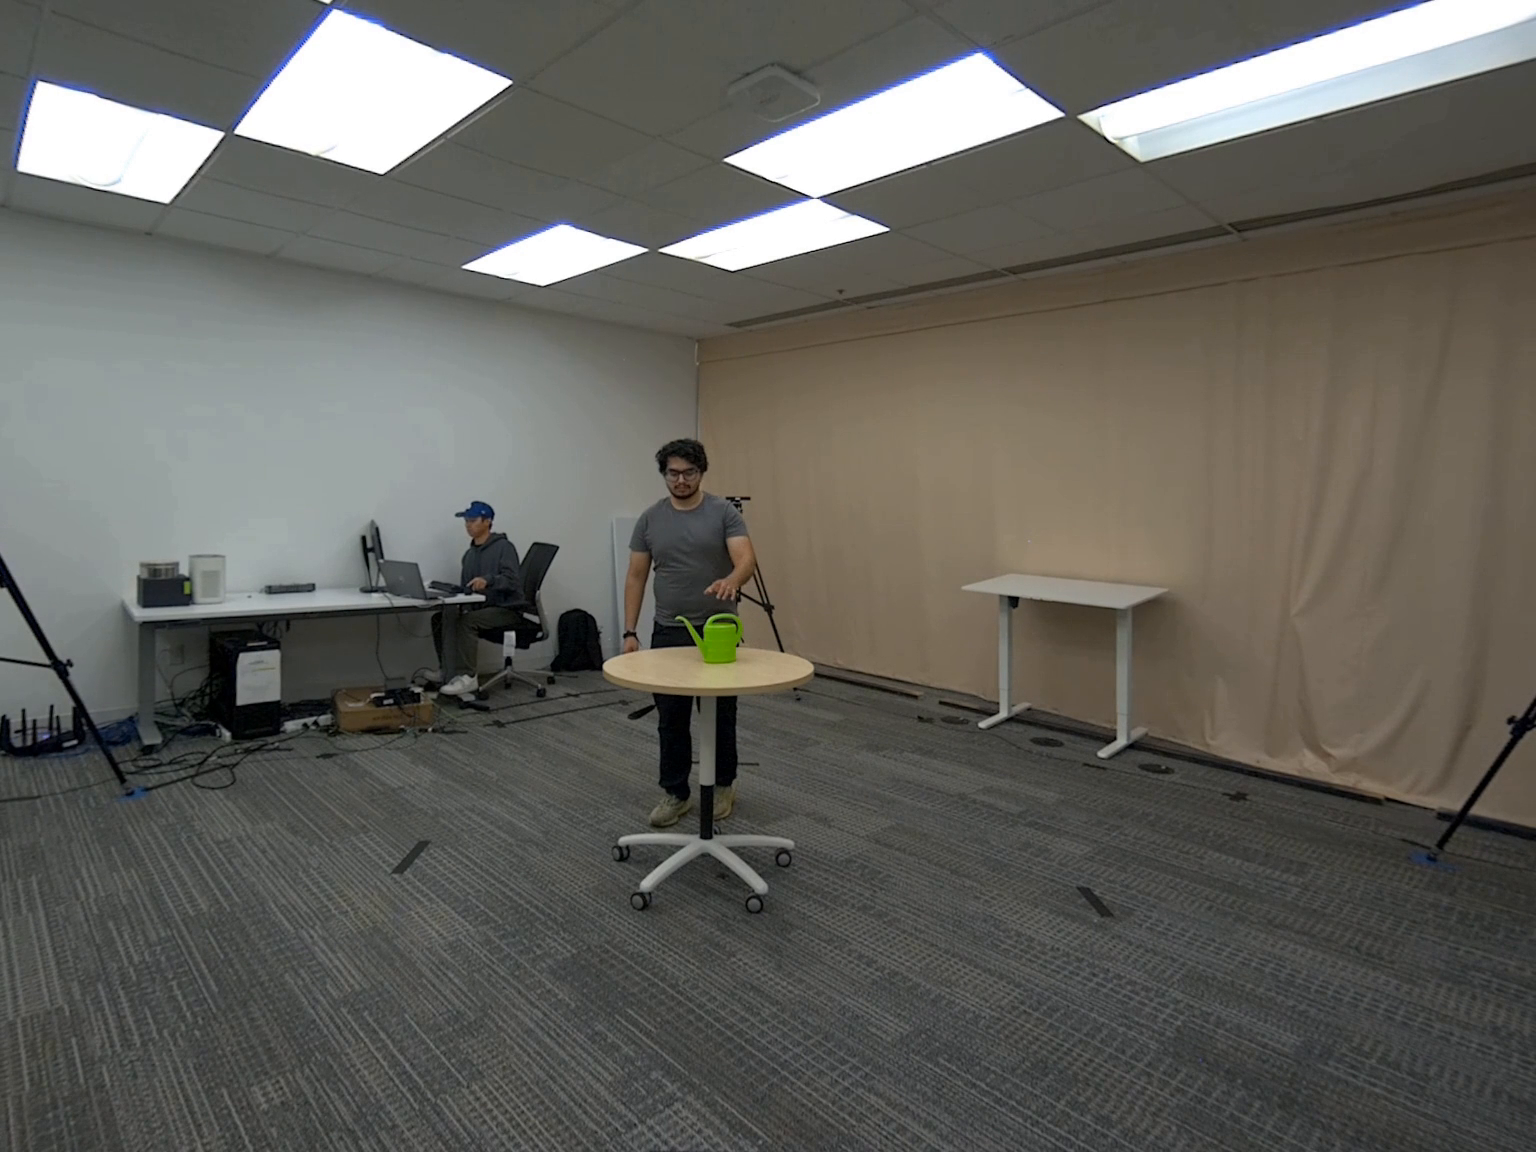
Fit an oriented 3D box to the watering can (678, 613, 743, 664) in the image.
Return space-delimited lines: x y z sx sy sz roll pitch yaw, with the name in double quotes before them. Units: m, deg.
"watering can" -0.231 0.231 3.127 0.274 0.176 0.099 1 5 -17
